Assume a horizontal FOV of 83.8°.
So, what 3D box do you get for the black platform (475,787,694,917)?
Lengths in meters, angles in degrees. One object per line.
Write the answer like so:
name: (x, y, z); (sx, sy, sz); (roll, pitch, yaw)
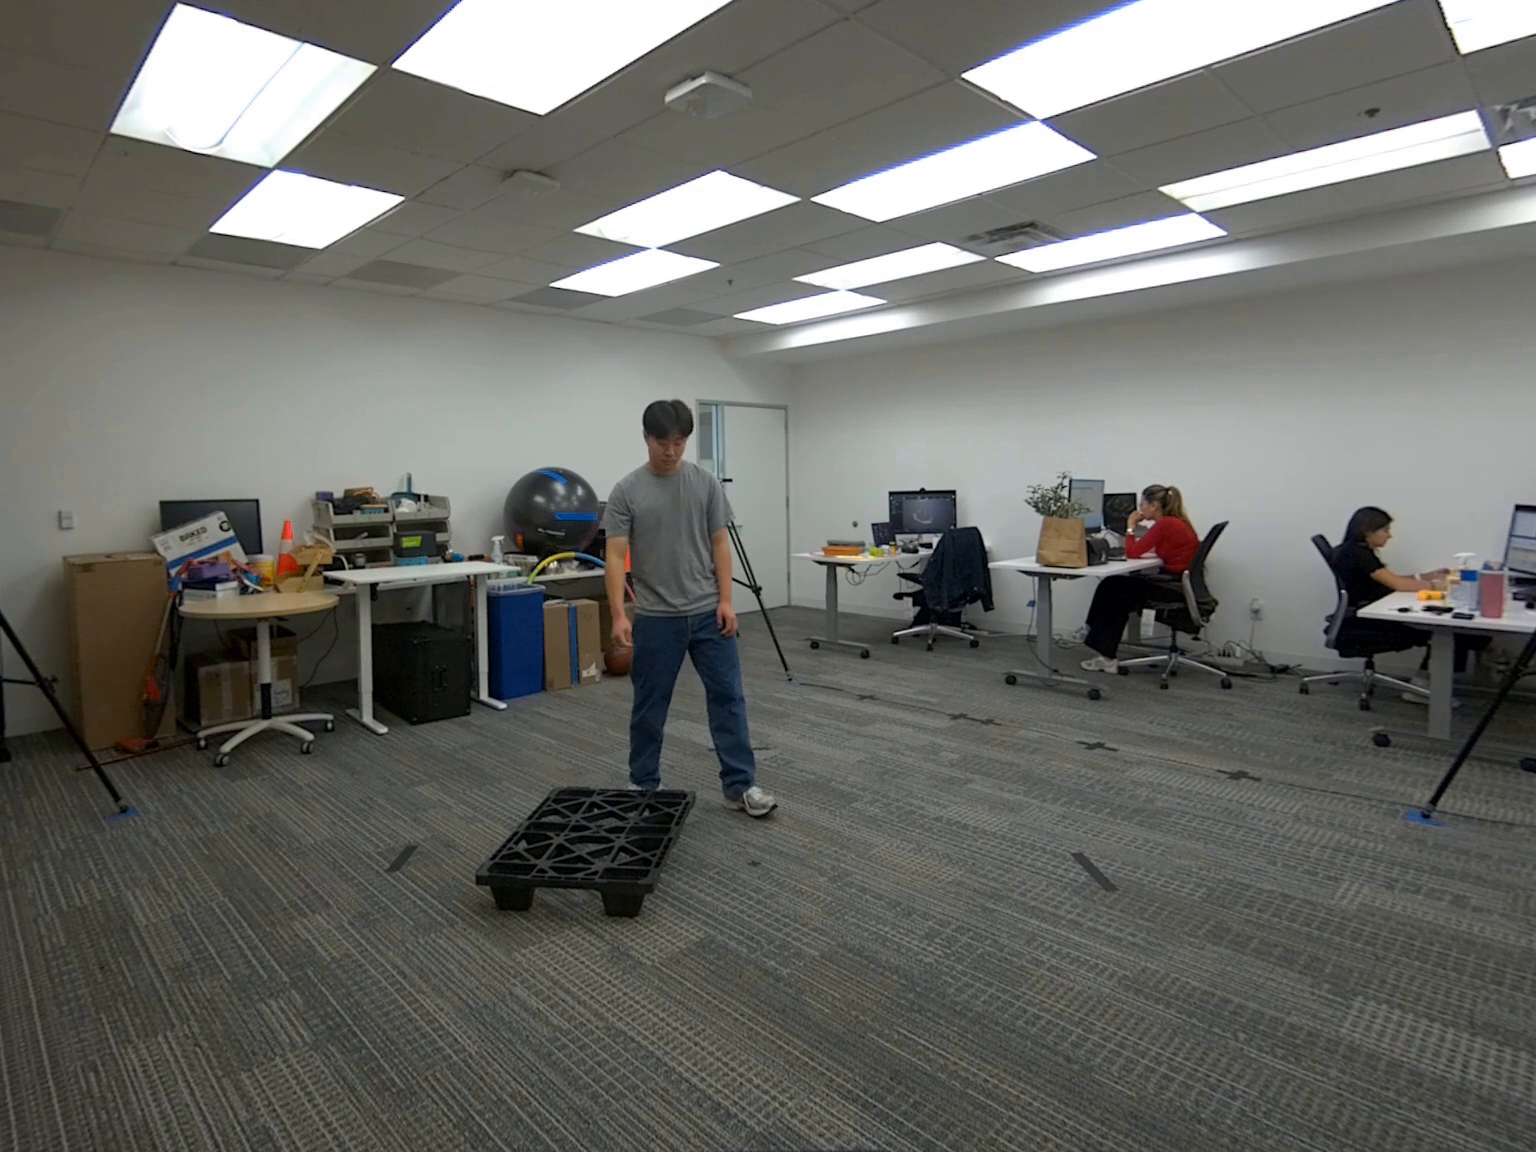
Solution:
black platform: (-0.615, 0.983, 3.127); (0.610, 0.142, 0.804); (0, 7, 7)
